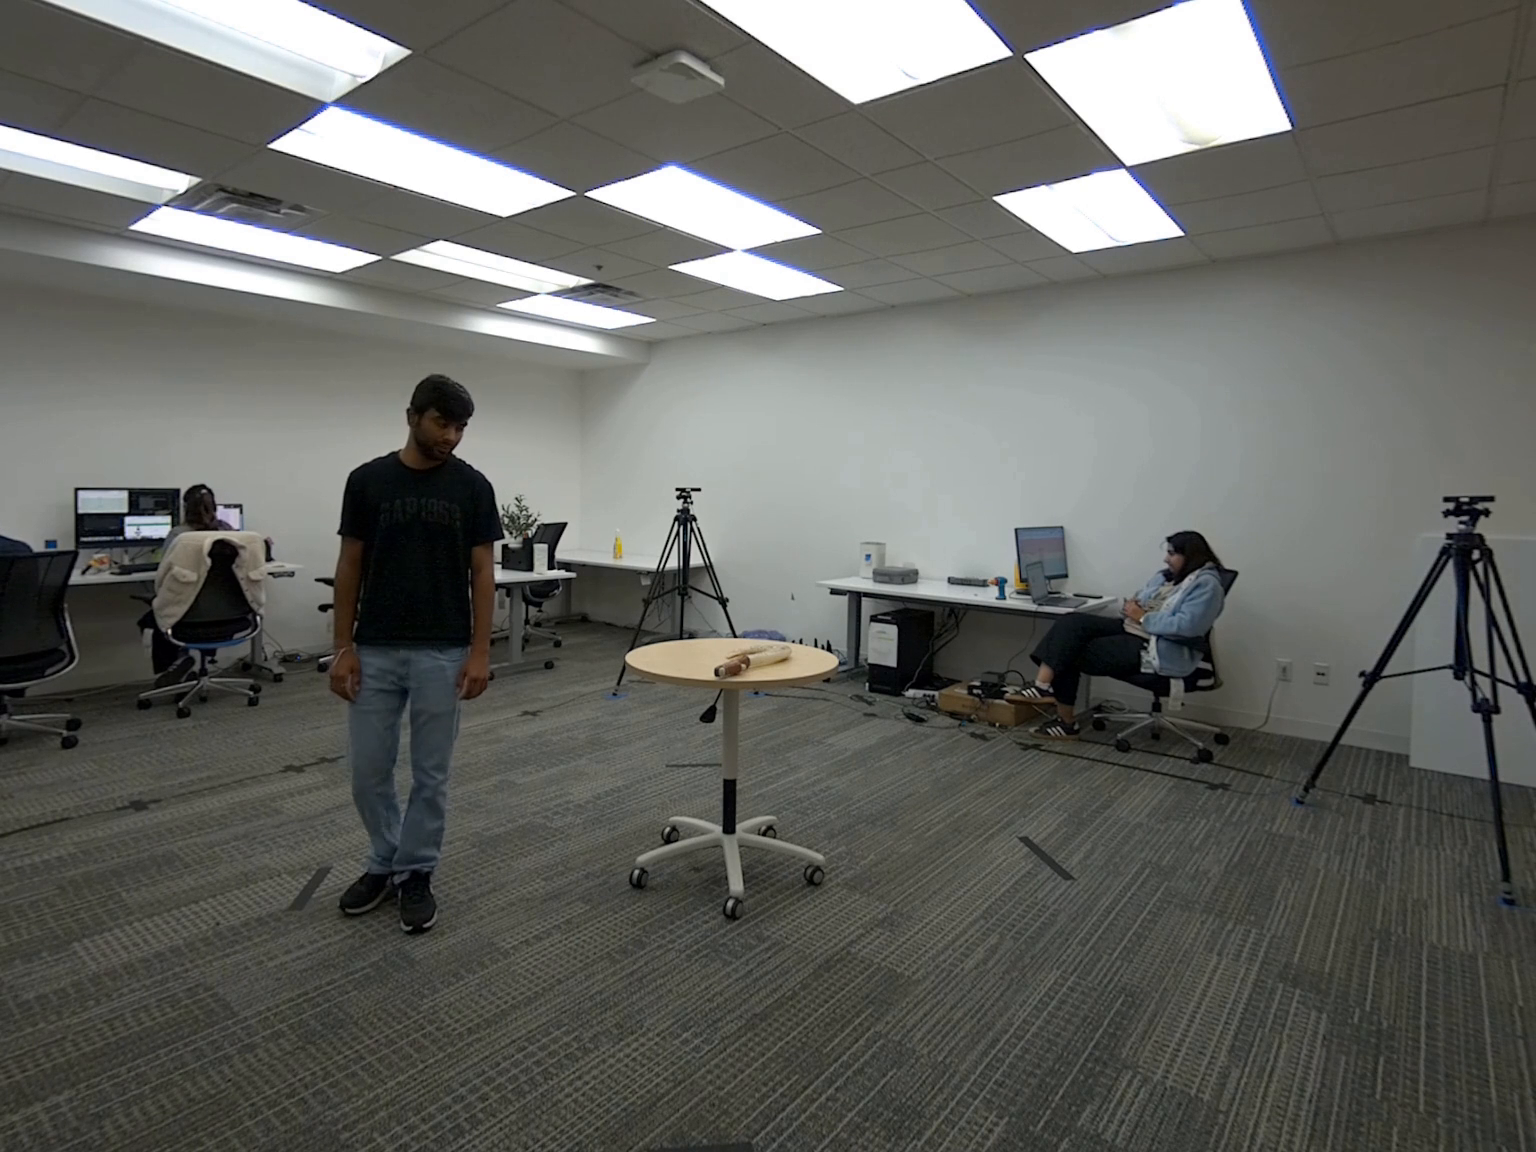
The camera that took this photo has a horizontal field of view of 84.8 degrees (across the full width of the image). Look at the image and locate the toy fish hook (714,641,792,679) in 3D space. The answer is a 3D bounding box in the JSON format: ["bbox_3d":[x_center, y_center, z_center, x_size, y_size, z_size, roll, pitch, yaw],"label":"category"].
[{"bbox_3d":[-0.100,0.291,2.931,0.231,0.048,0.494,0,4,28],"label":"toy fish hook"}]
